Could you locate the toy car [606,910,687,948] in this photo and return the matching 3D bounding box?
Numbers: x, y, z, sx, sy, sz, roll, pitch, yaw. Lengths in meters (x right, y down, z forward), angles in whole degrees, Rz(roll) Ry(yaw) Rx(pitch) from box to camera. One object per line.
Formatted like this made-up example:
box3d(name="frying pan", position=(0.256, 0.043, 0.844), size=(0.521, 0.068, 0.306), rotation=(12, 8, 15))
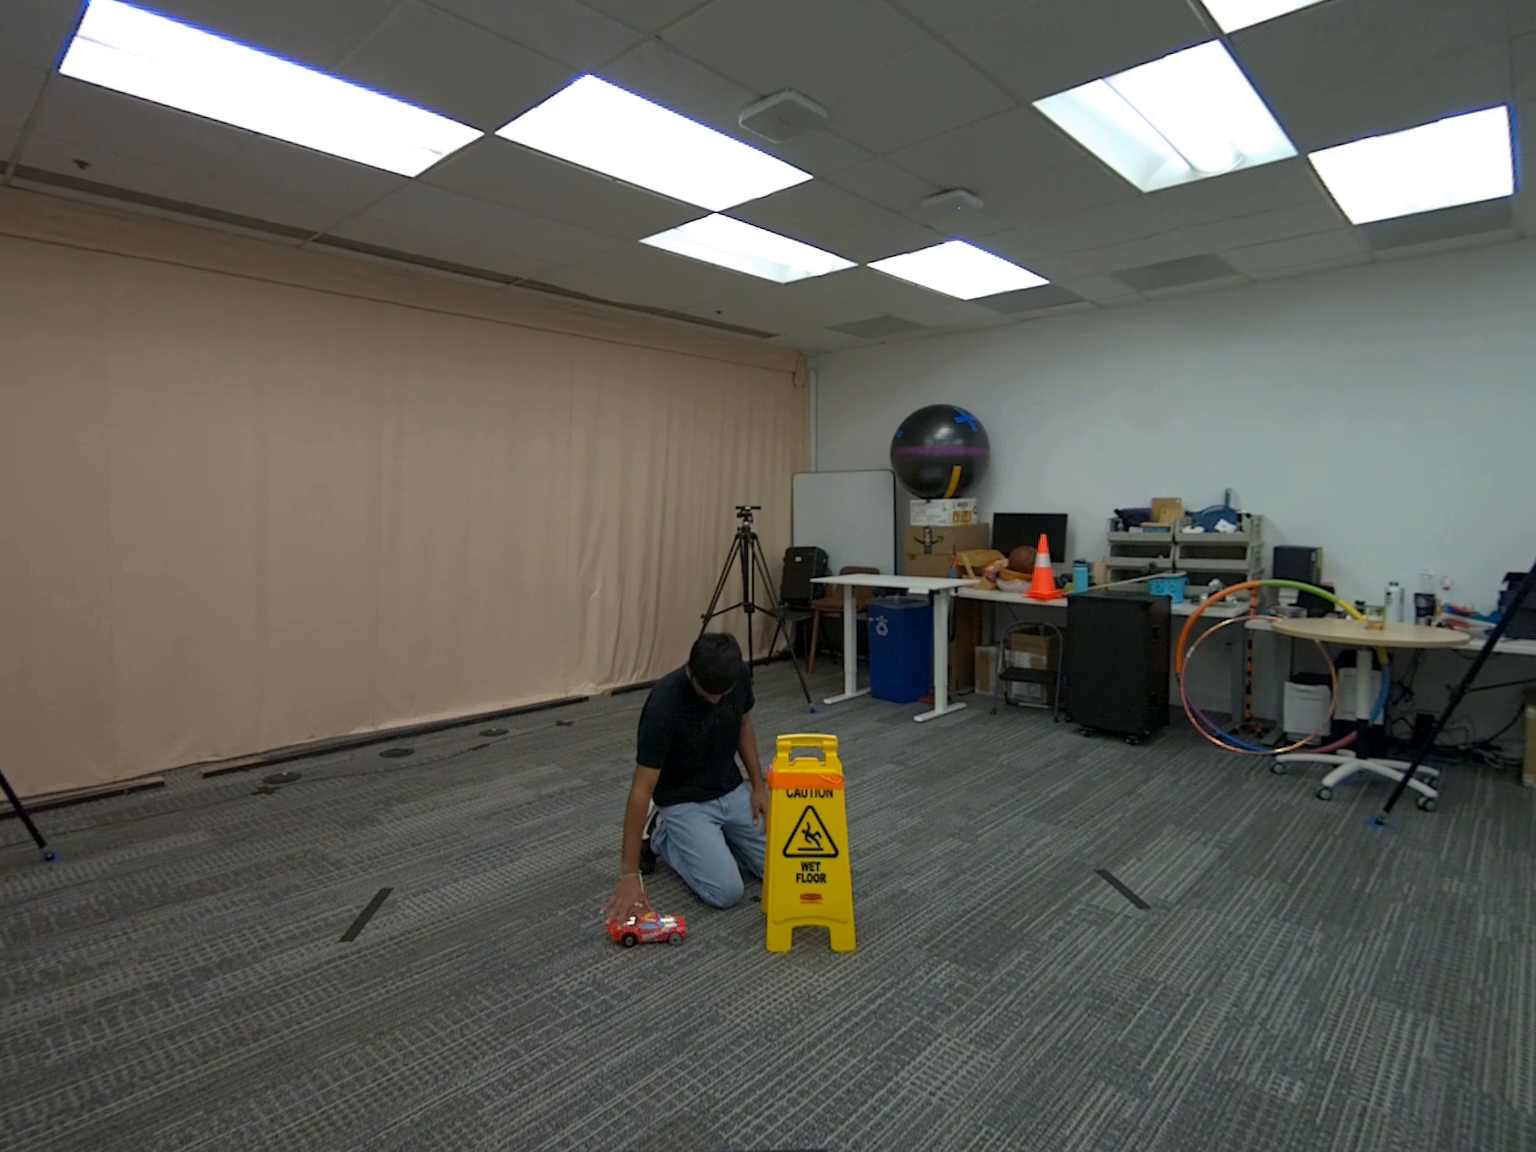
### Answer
box3d(name="toy car", position=(-0.400, 1.131, 2.719), size=(0.253, 0.083, 0.131), rotation=(12, 4, -4))
